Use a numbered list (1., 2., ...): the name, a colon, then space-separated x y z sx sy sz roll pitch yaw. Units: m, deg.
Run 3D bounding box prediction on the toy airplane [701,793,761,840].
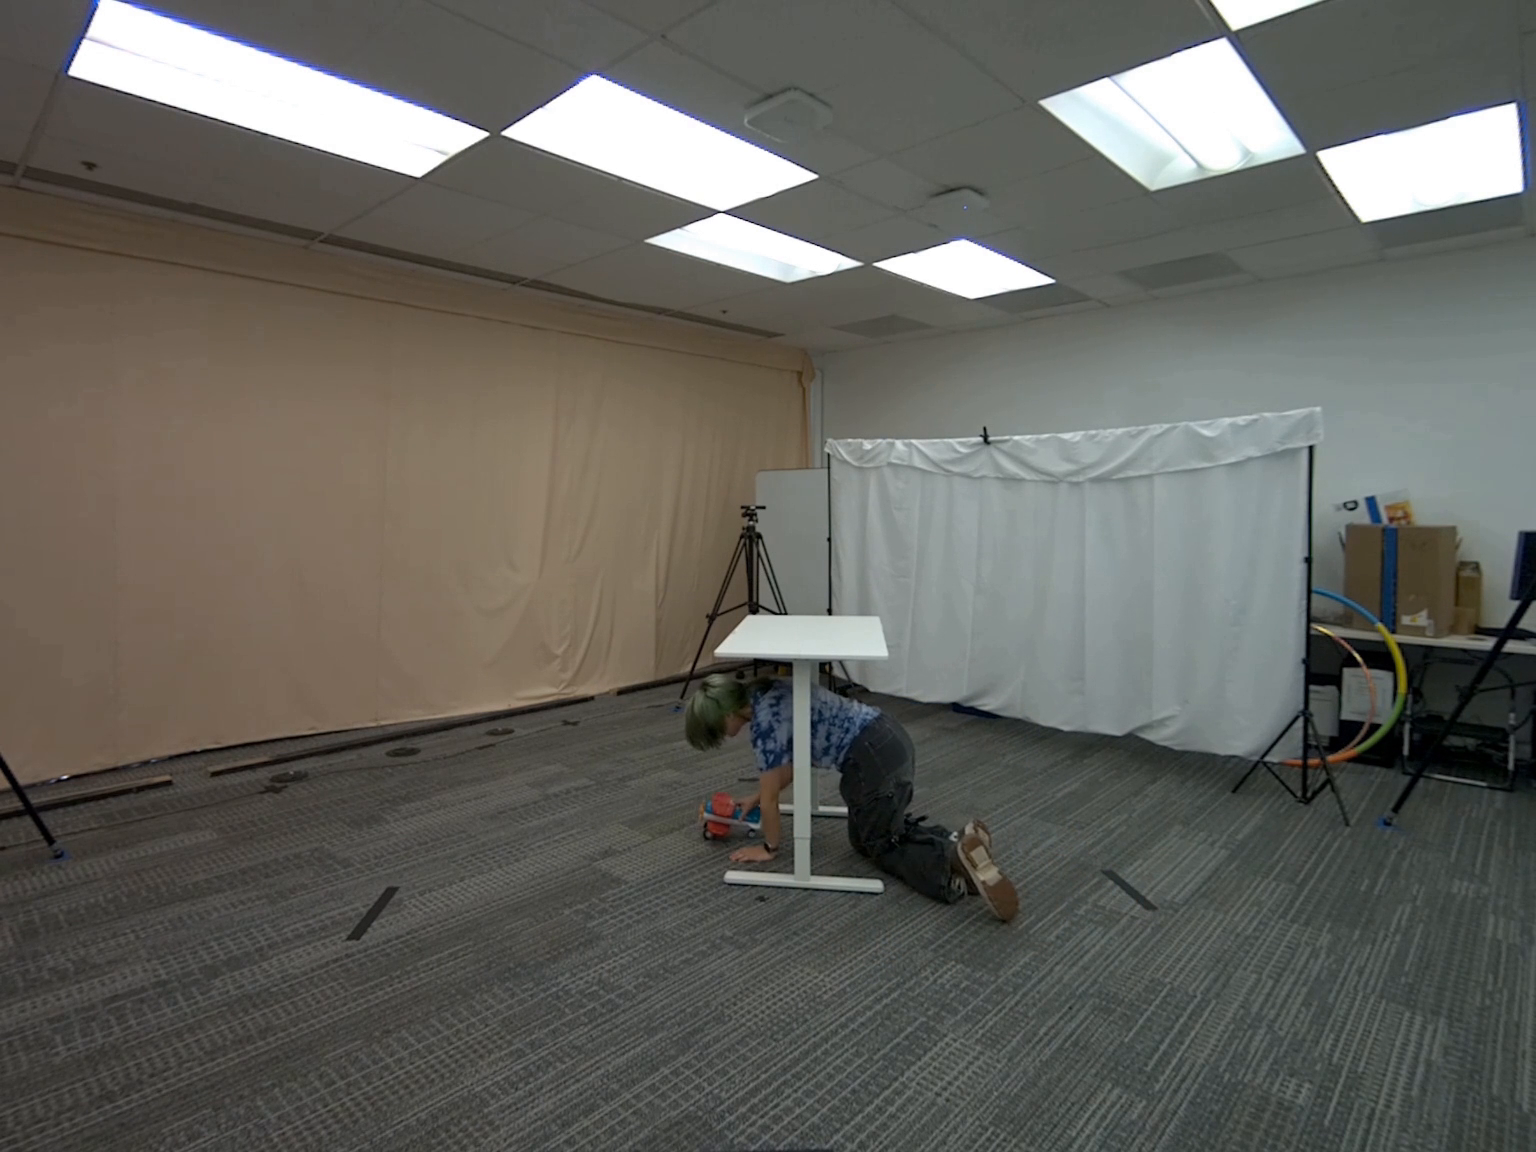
1. toy airplane: -0.159 1.027 3.573 0.252 0.156 0.258 -3 5 -29
